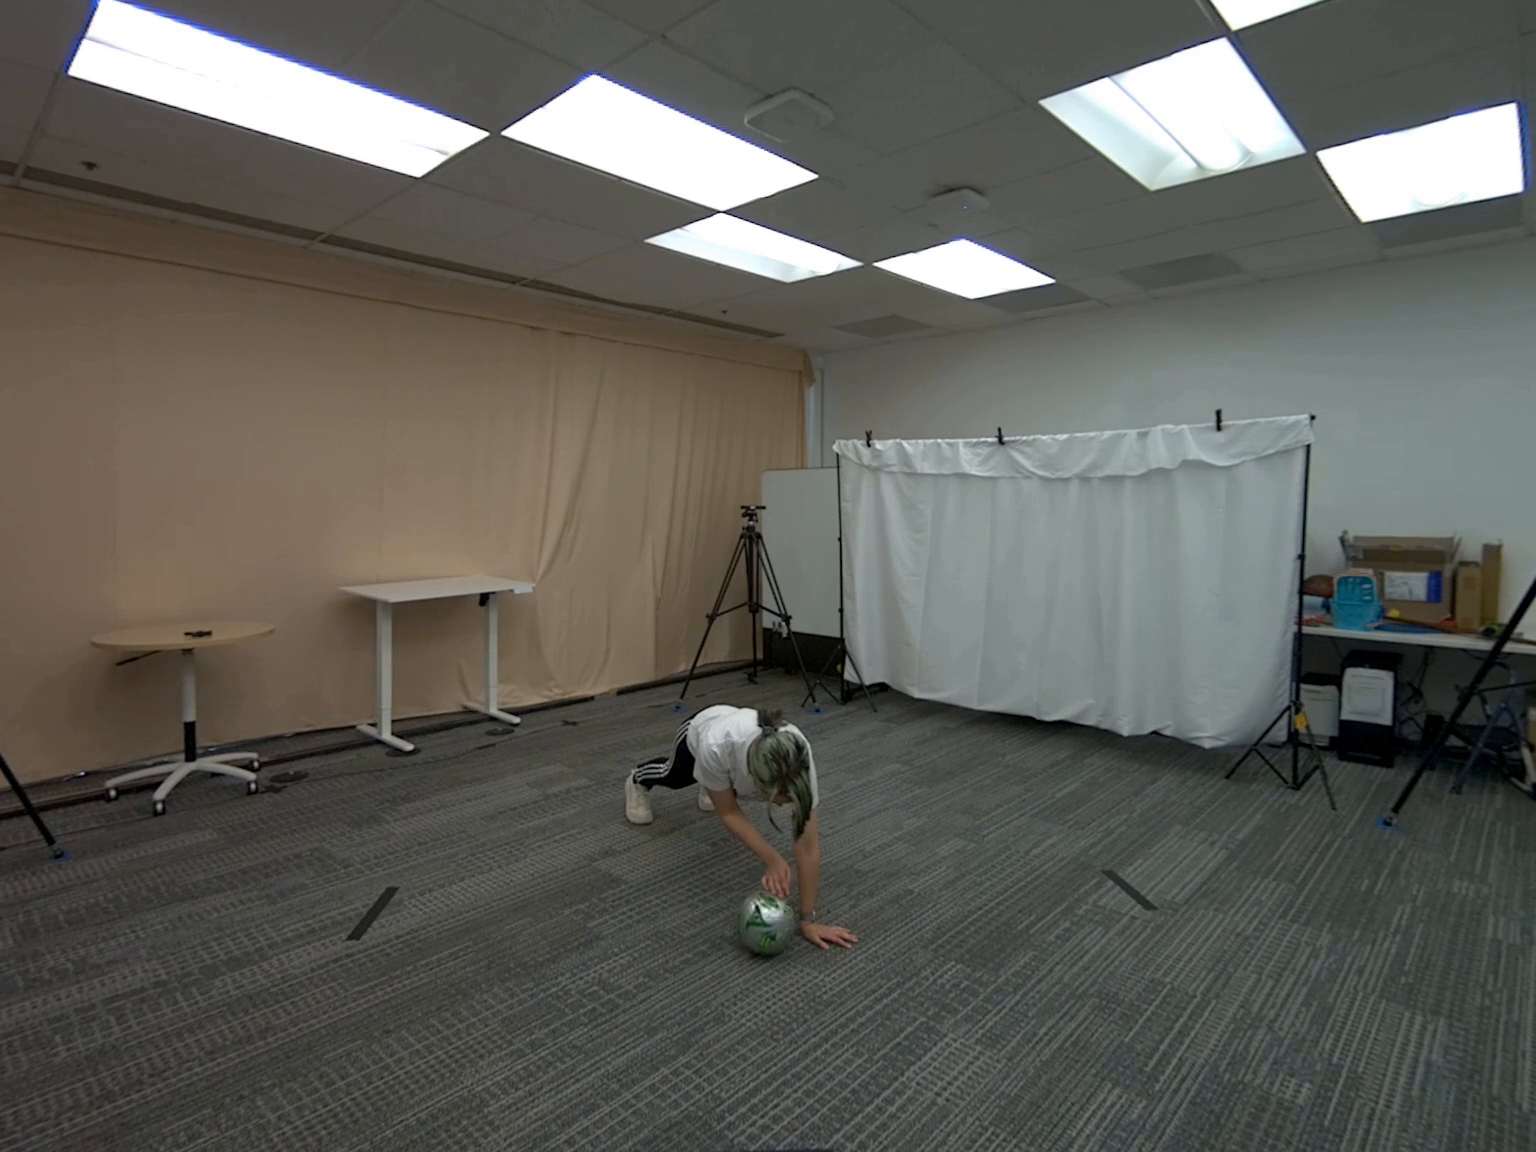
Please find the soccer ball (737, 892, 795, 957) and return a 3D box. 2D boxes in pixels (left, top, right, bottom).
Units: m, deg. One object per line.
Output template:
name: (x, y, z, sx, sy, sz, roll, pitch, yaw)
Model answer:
soccer ball: (-0.011, 1.081, 2.631, 0.187, 0.187, 0.188, 0, 4, -2)
